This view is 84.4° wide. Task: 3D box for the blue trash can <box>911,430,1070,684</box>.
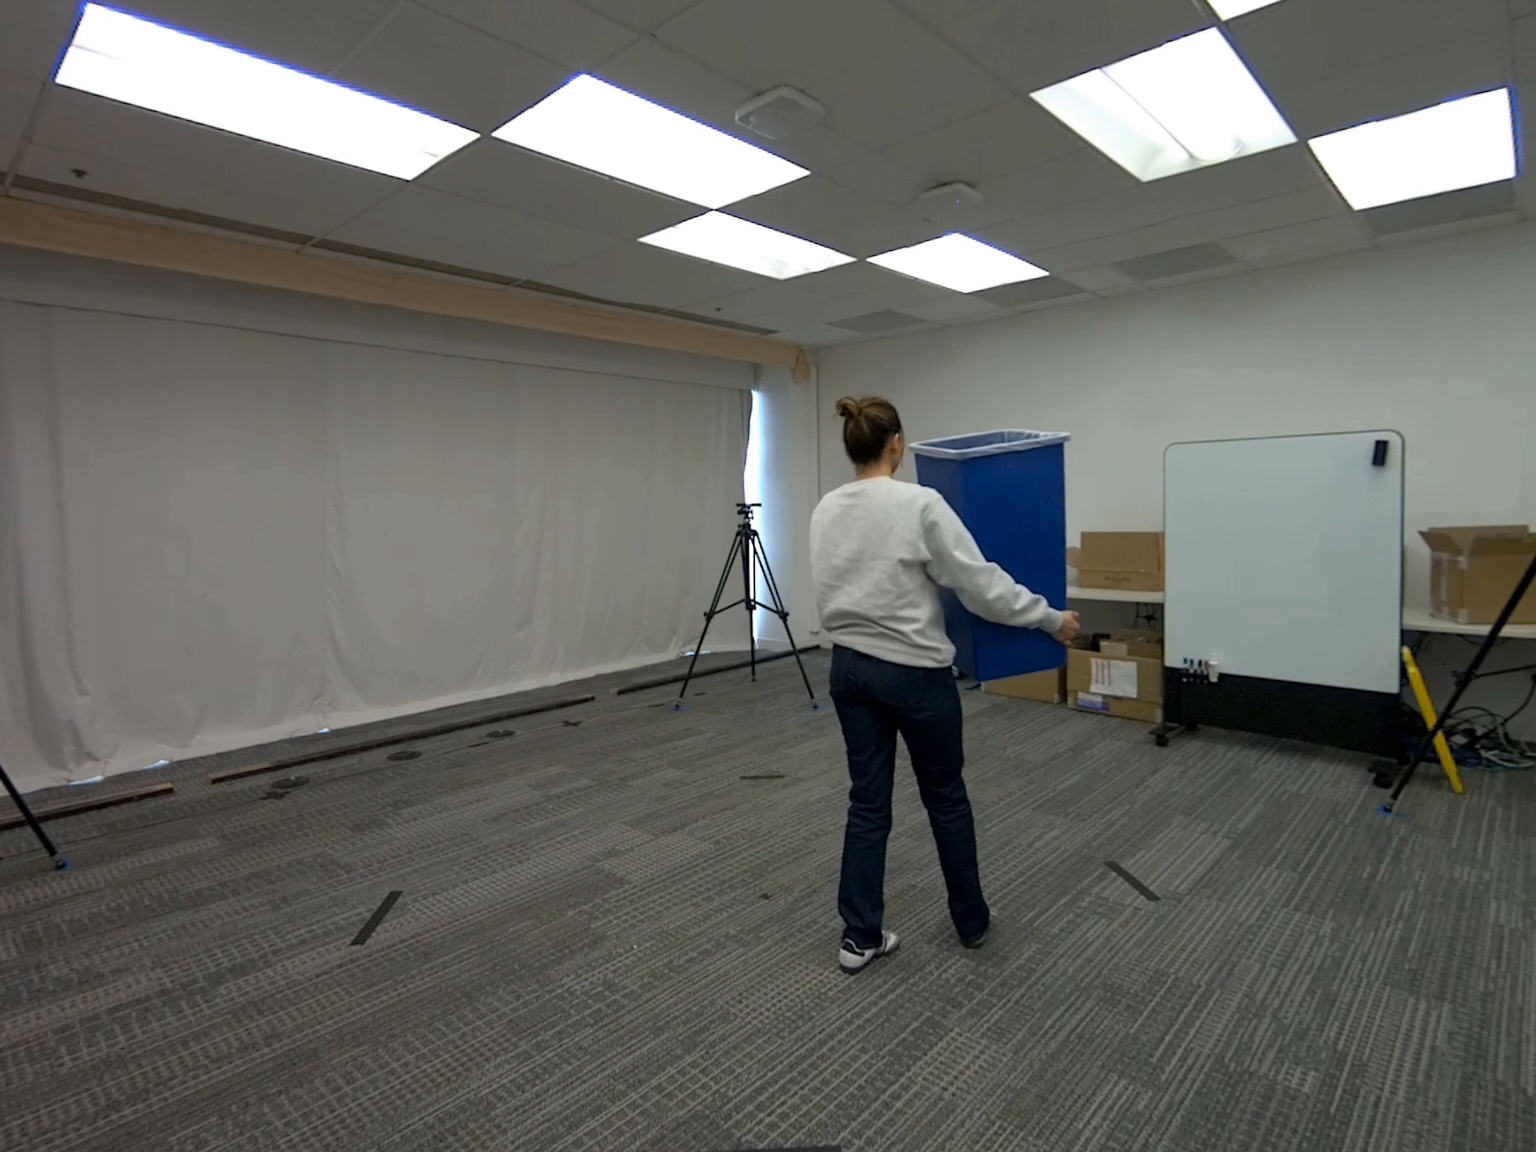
[{"bbox_3d":[0.712,-0.080,2.630,0.370,0.708,0.385,-9,11,-11],"label":"blue trash can"}]
